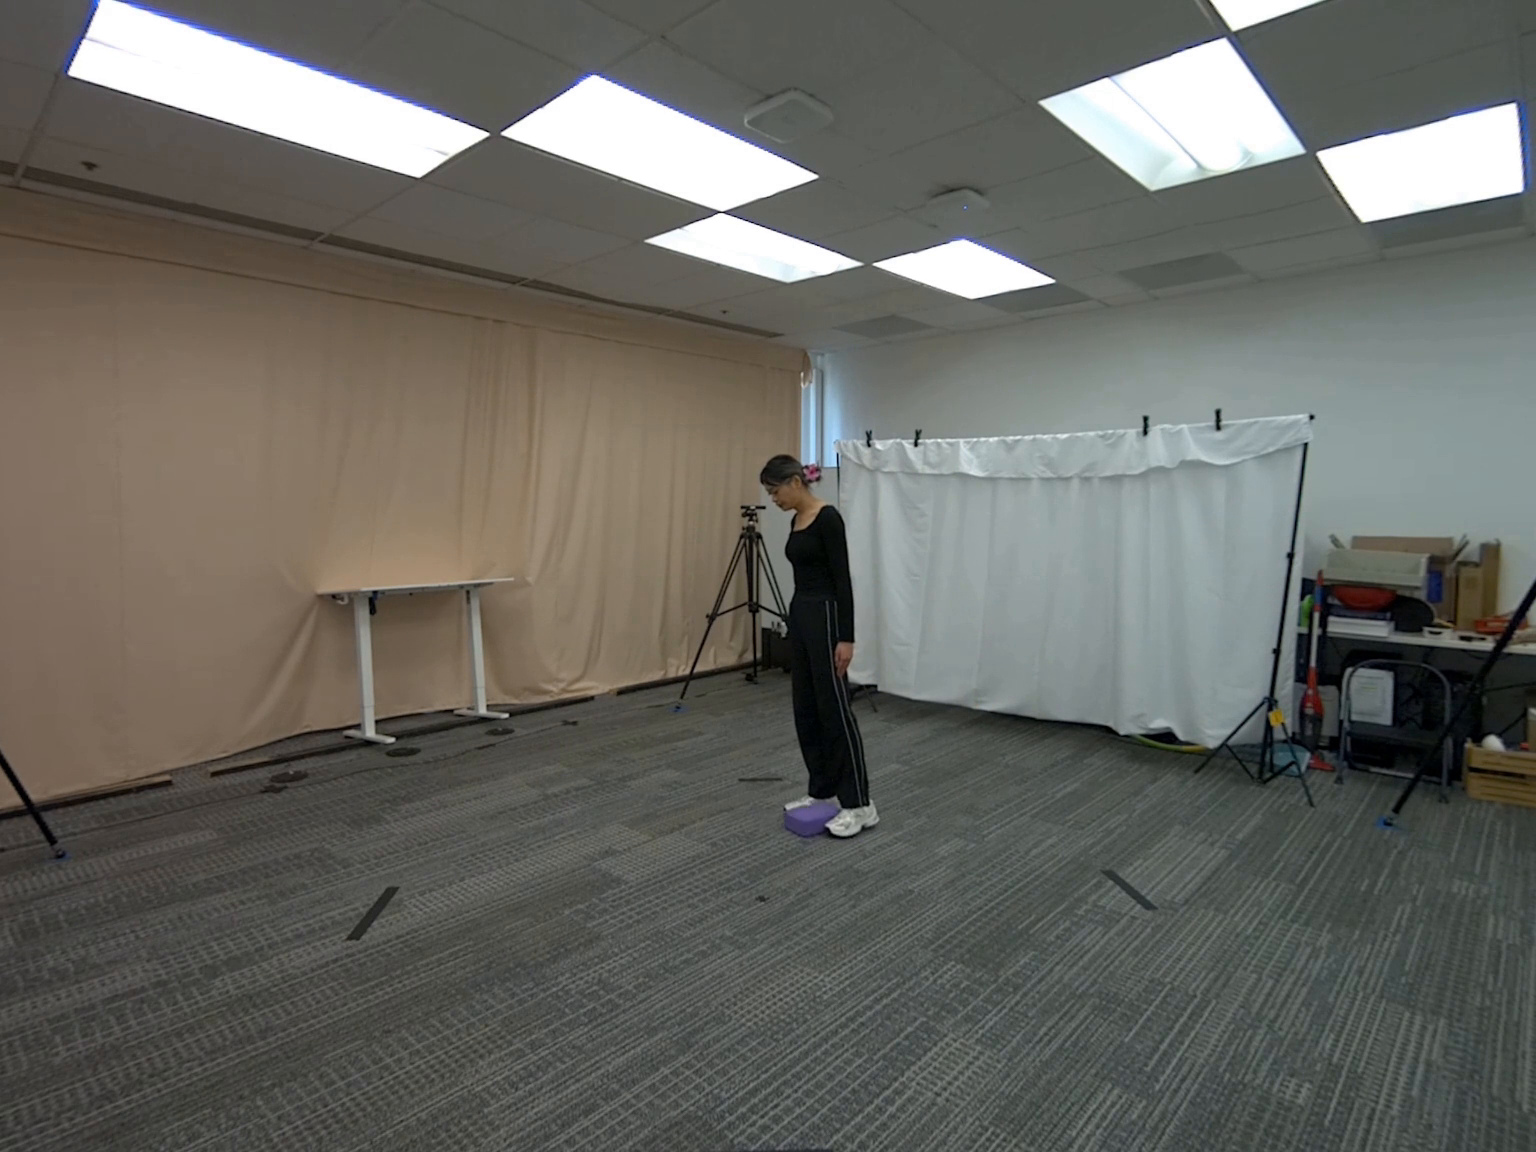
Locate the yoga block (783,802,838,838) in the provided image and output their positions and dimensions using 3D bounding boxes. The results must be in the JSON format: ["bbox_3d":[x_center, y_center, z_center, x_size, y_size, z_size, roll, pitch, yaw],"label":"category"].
[{"bbox_3d":[0.199,1.049,3.639,0.223,0.076,0.153,-4,5,-33],"label":"yoga block"}]
